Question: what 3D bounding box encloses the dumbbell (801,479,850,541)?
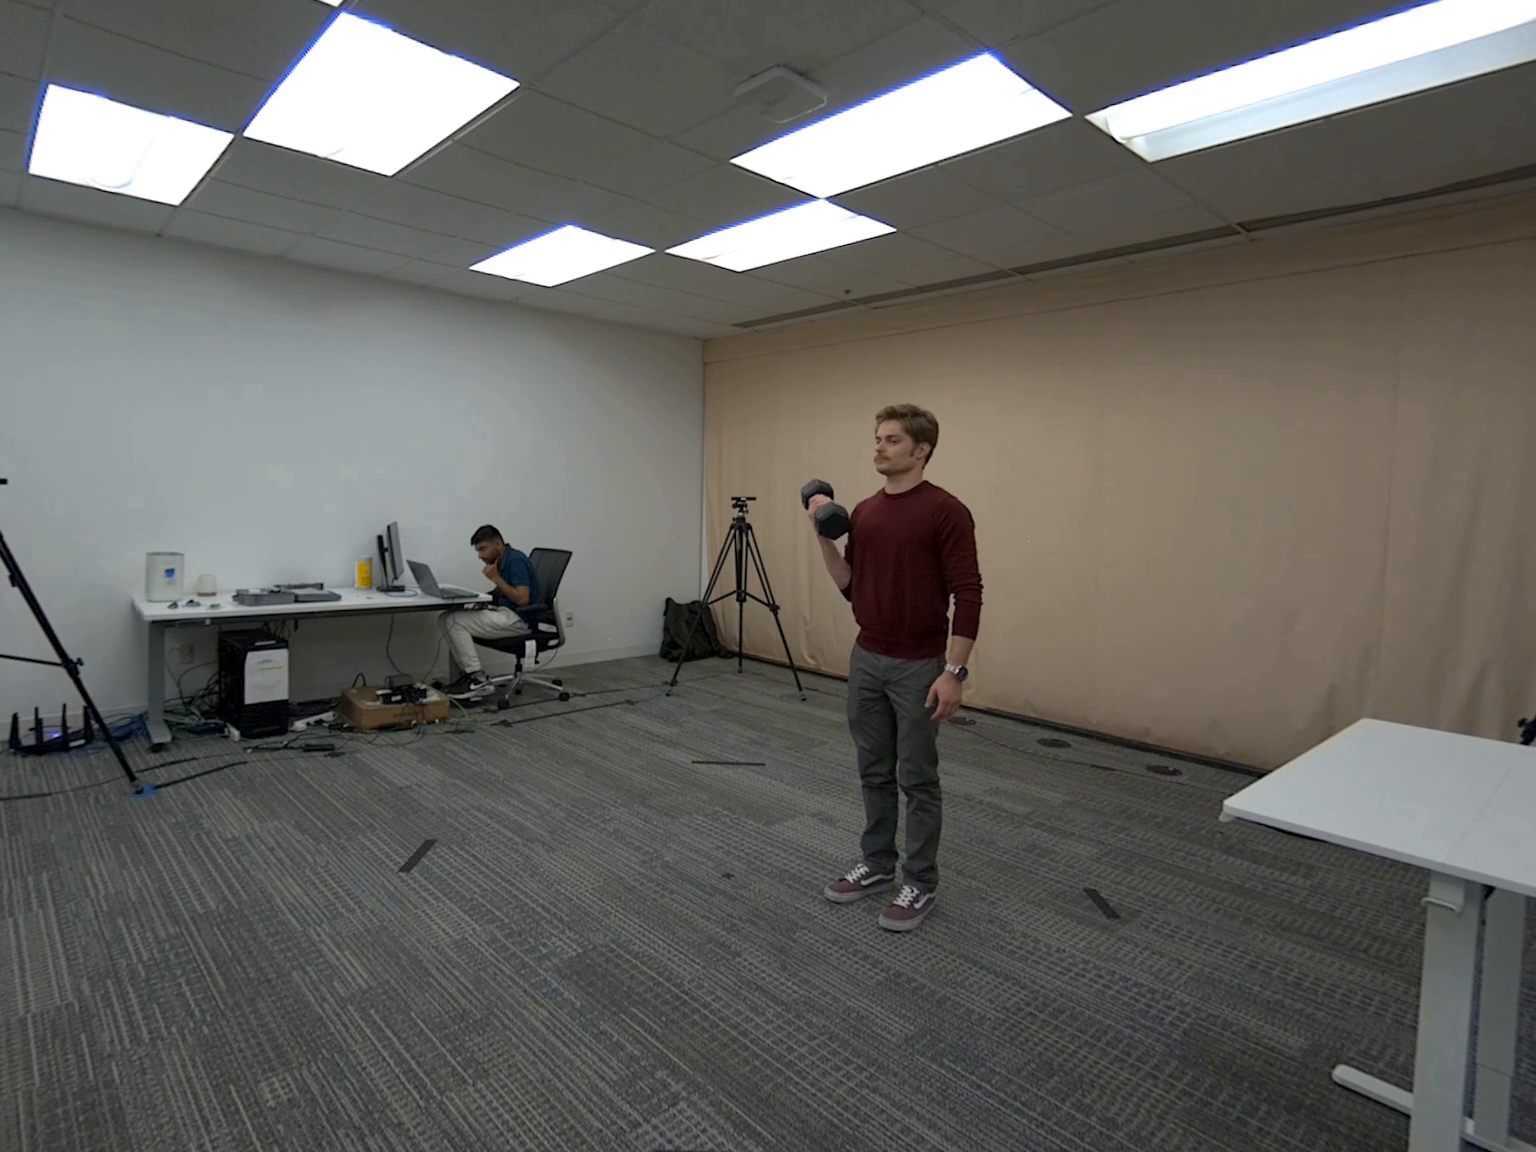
[{"bbox_3d":[0.191,-0.229,2.947,0.108,0.120,0.300,-8,30,-4],"label":"dumbbell"}]
